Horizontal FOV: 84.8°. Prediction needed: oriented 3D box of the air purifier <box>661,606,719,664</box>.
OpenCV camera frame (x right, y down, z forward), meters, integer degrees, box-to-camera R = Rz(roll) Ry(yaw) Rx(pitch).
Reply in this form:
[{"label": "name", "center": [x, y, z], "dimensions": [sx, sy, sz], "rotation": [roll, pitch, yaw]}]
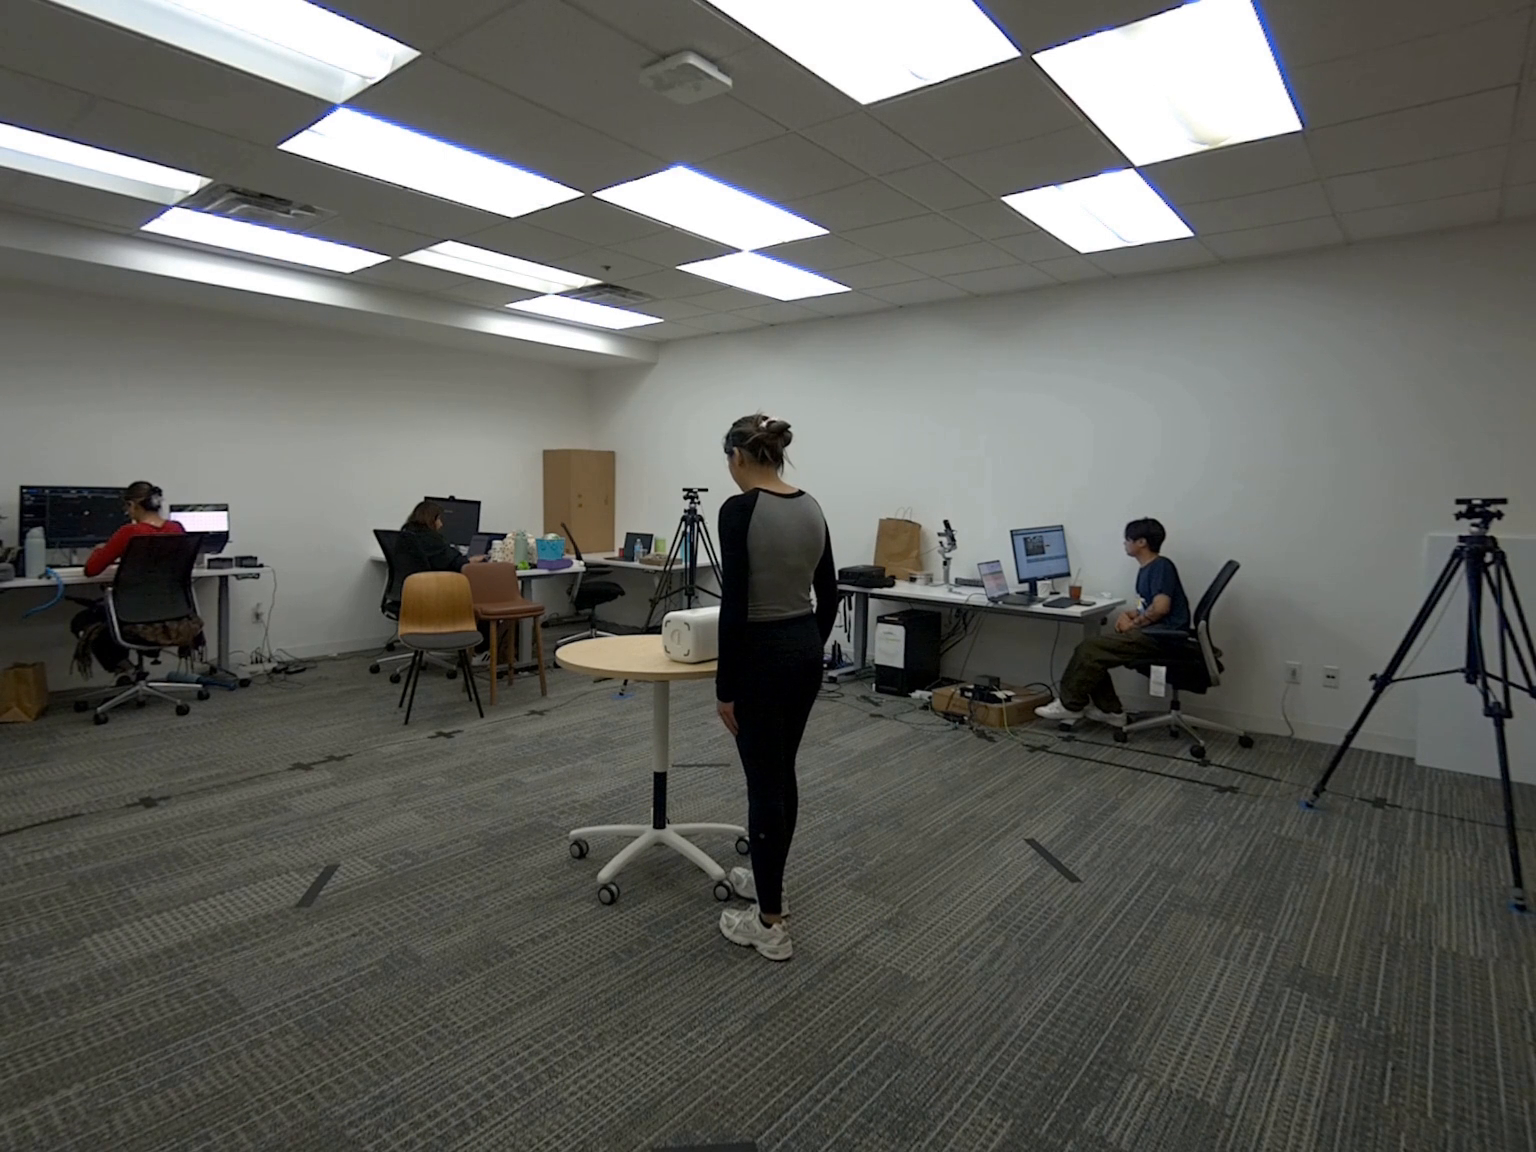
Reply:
[{"label": "air purifier", "center": [-0.241, 0.198, 2.982], "dimensions": [0.177, 0.171, 0.258], "rotation": [4, 5, 37]}]
